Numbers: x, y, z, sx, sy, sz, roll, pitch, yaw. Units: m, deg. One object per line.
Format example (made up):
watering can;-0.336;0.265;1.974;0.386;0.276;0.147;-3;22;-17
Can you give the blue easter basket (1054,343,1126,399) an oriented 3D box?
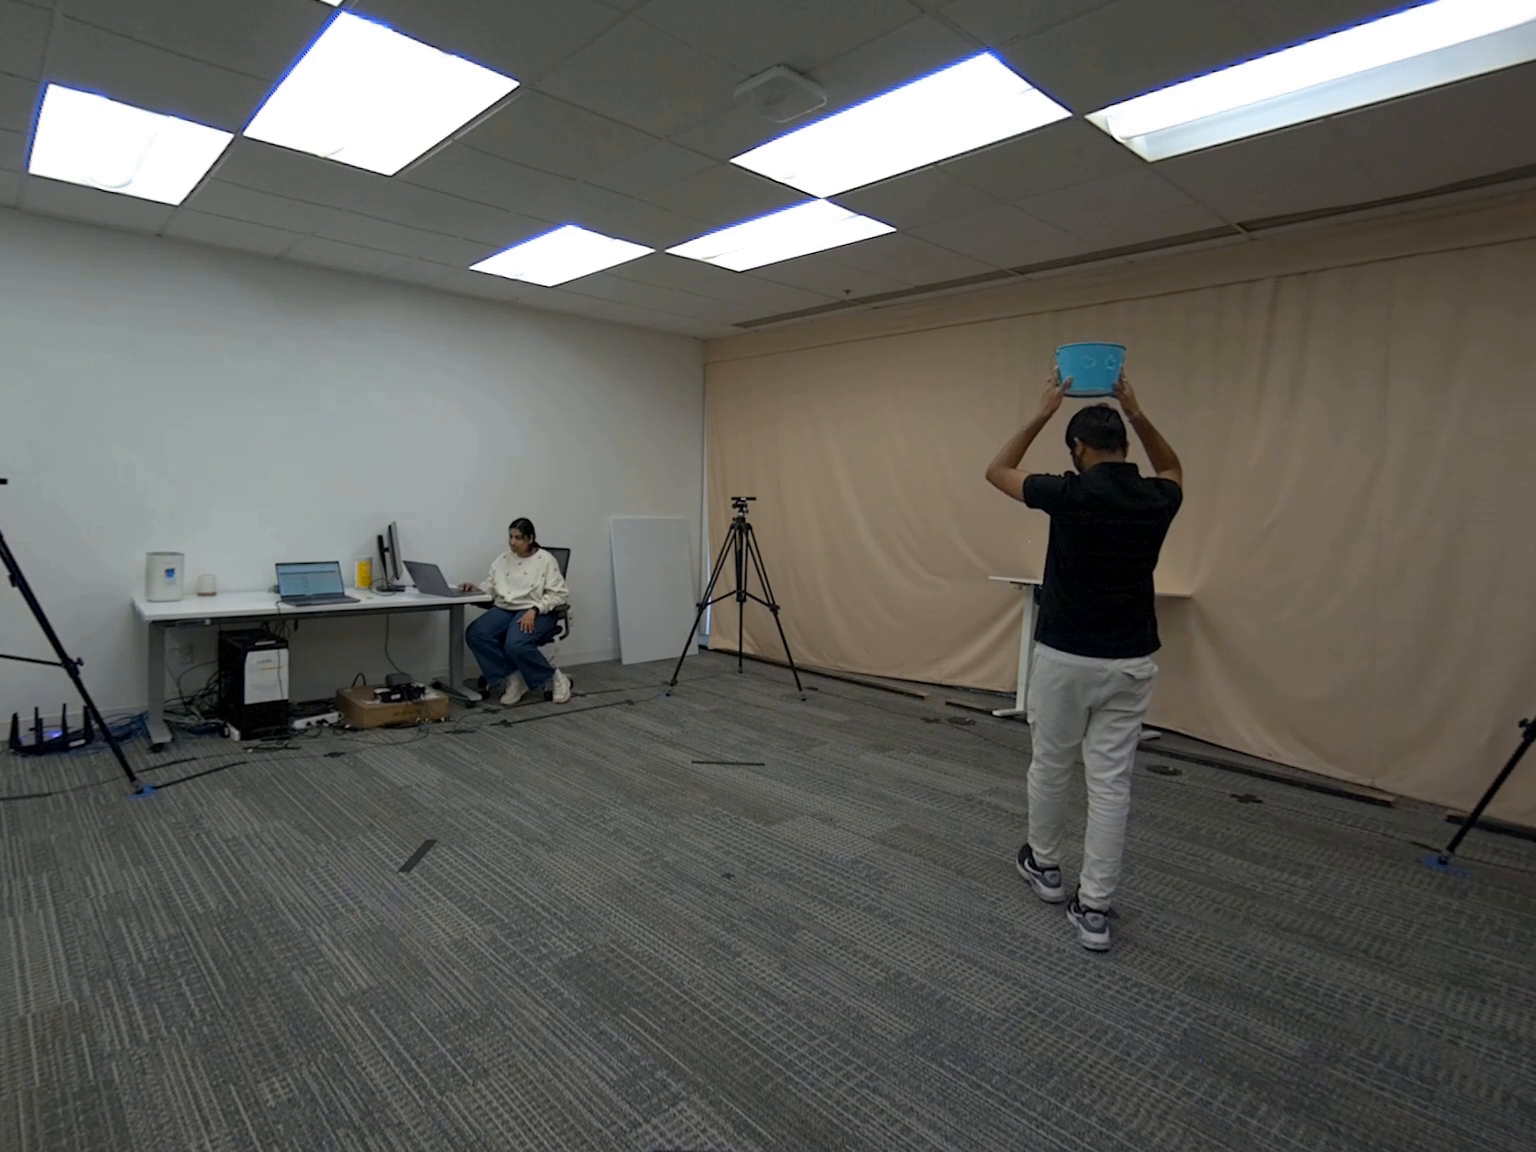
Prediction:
blue easter basket;1.112;-0.704;2.897;0.243;0.156;0.244;5;2;-1
